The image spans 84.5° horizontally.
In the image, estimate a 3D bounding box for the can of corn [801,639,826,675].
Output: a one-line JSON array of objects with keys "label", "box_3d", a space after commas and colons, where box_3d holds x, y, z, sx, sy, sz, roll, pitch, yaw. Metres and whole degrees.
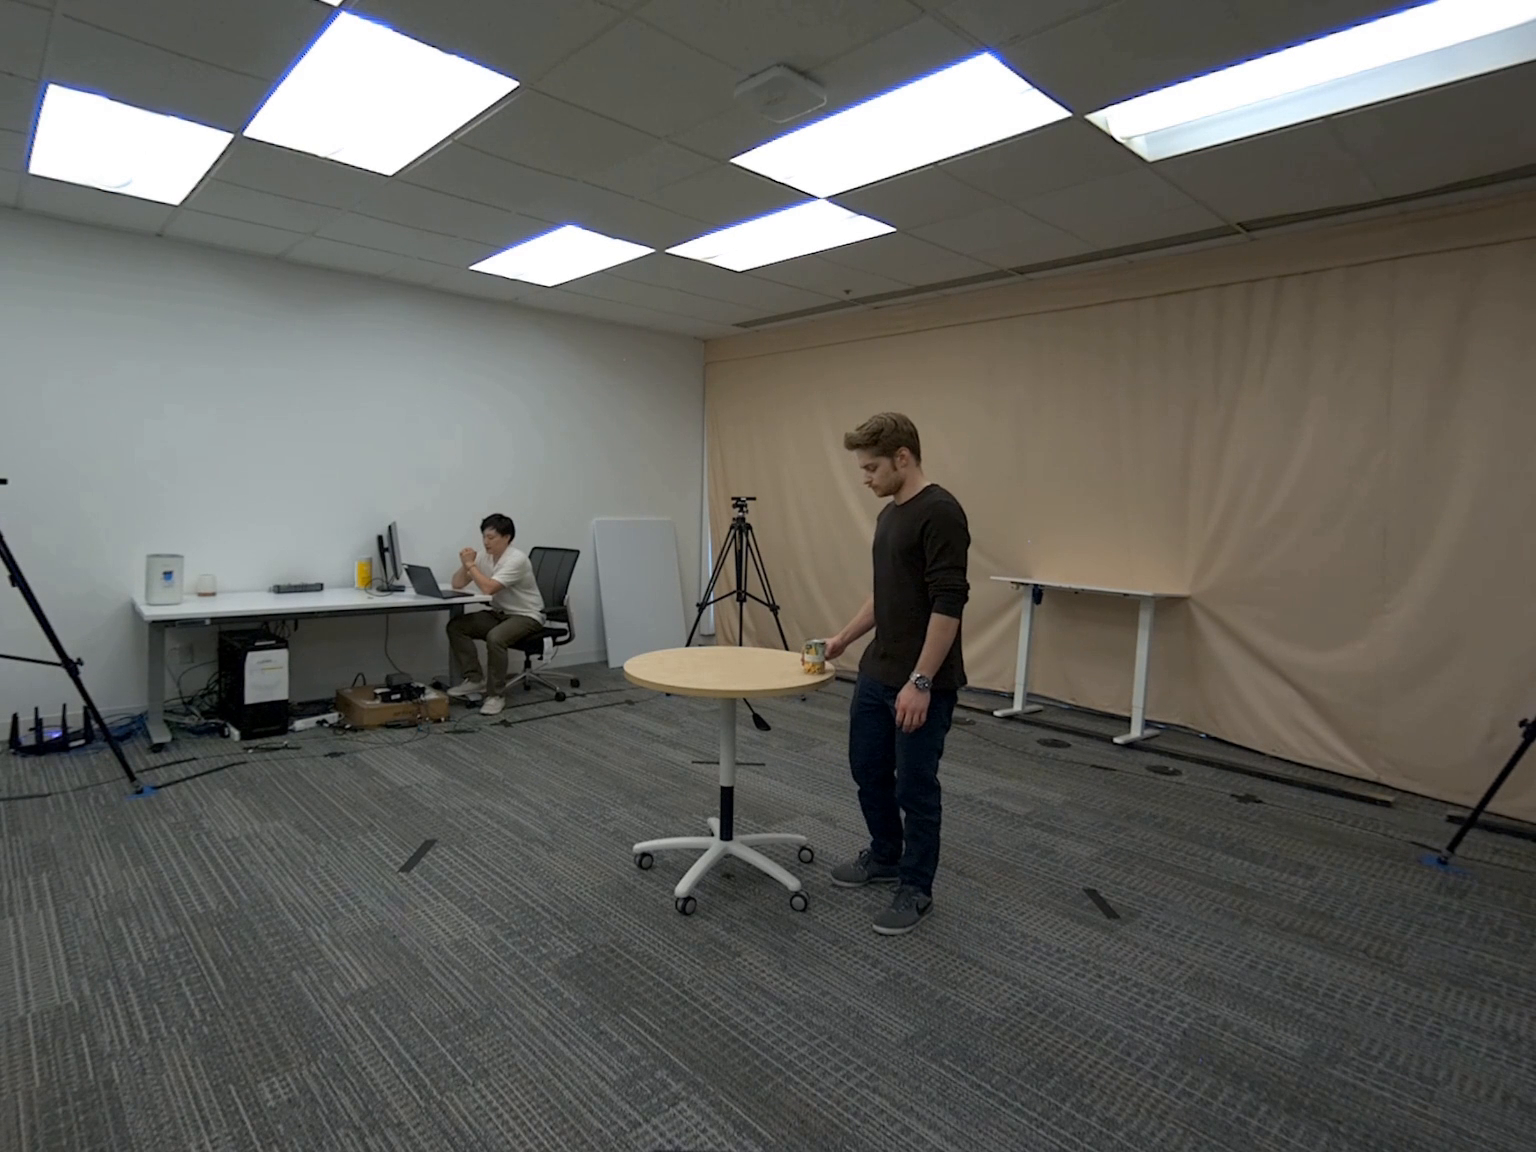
[{"label": "can of corn", "box_3d": [0.161, 0.285, 2.959, 0.074, 0.111, 0.074, 3, 2, -2]}]
